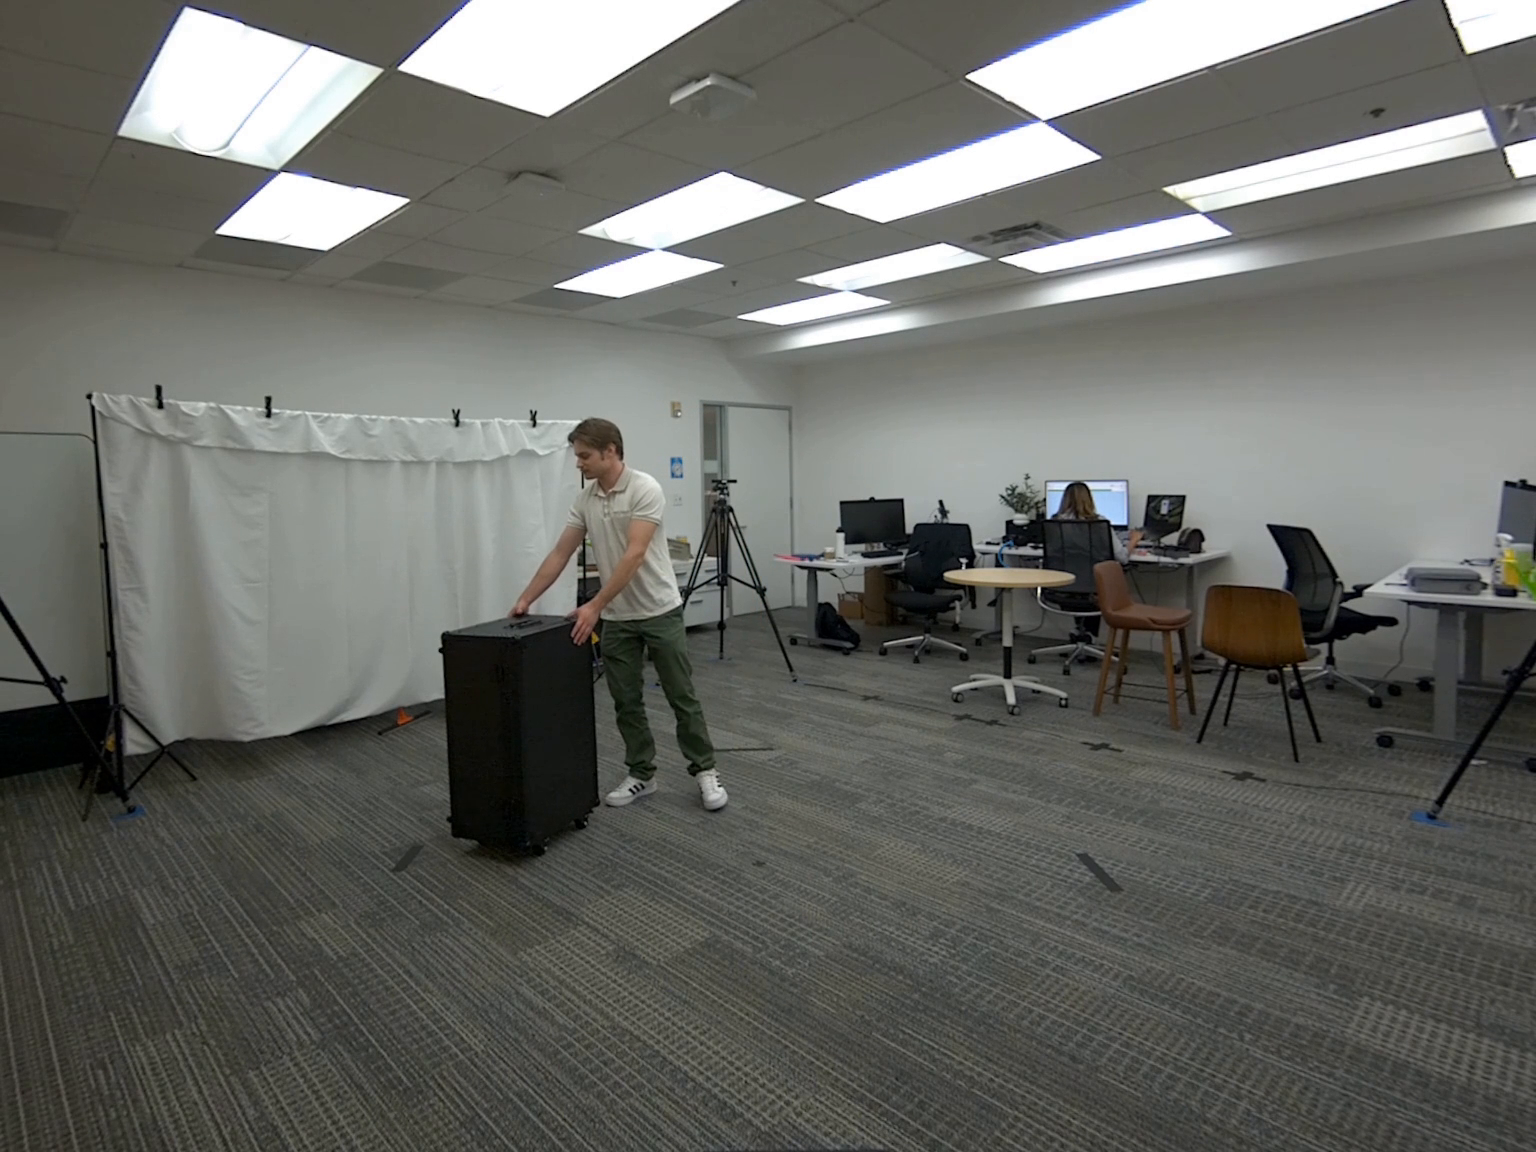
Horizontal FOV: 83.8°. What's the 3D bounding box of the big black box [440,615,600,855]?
[{"bbox_3d":[-0.970,0.617,3.357,0.394,0.866,0.514,0,4,23],"label":"big black box"}]
